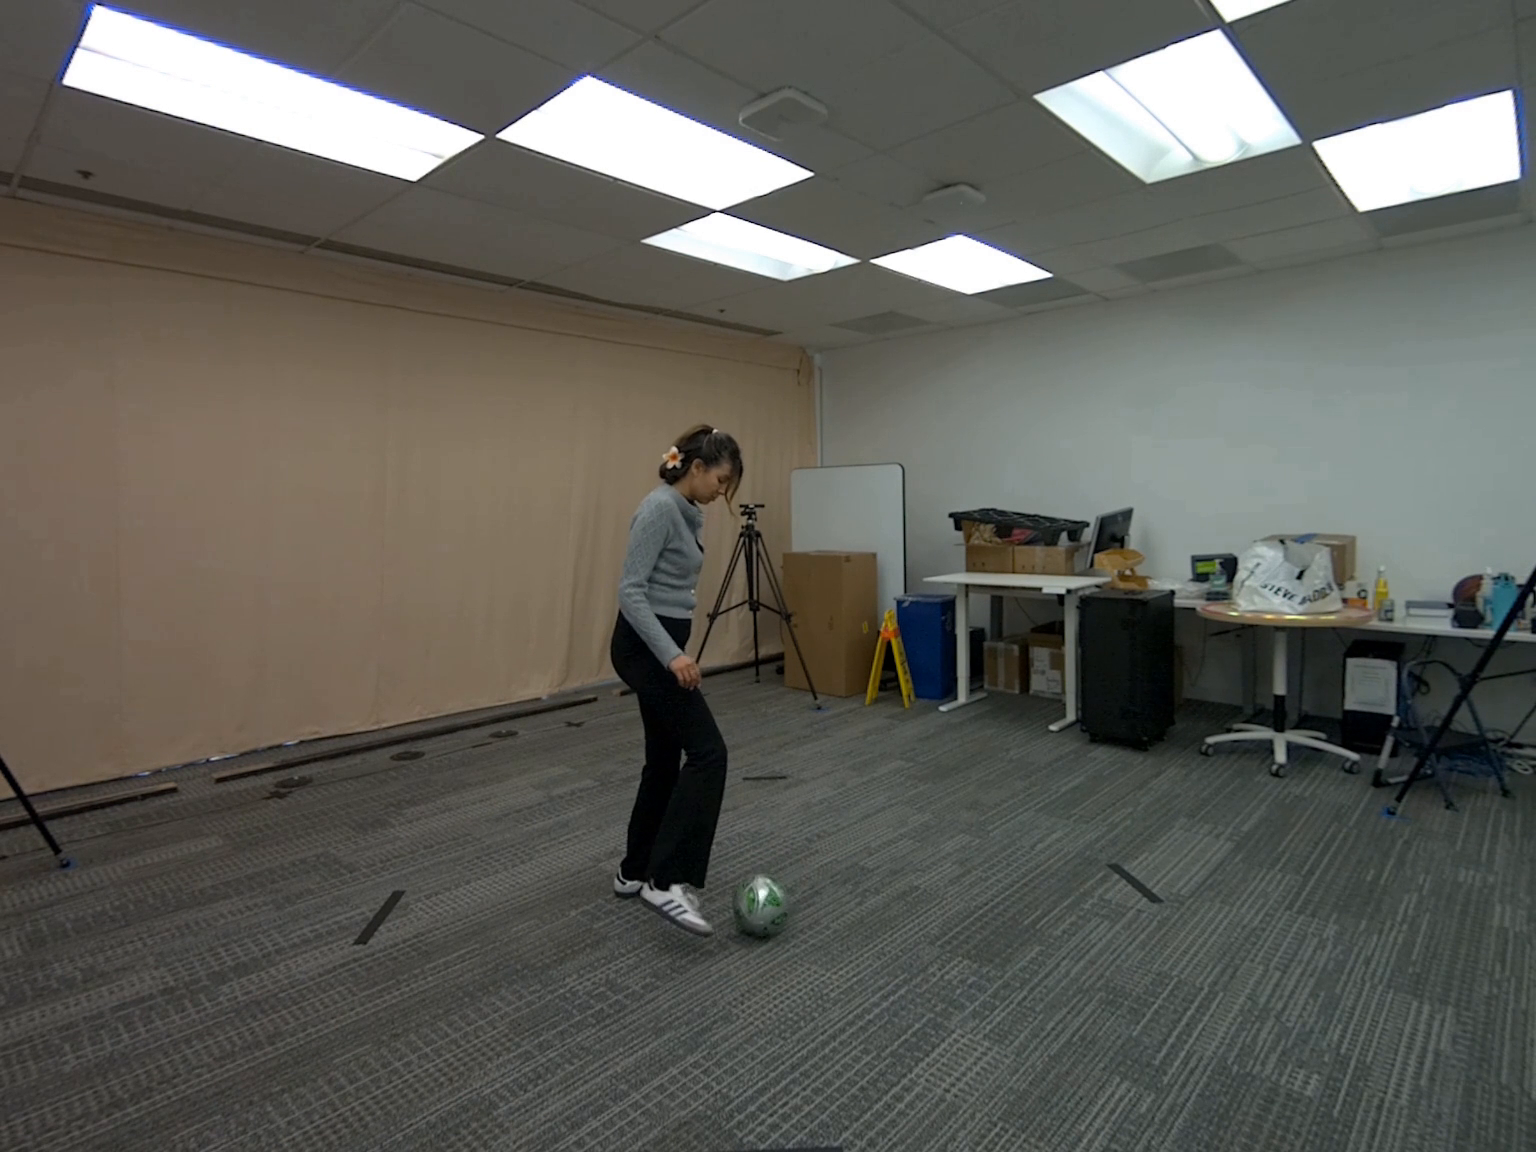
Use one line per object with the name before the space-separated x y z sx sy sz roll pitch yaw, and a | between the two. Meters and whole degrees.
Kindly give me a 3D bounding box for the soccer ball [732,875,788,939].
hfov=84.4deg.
soccer ball | -0.013 1.063 2.748 0.187 0.187 0.188 -1 4 -2
